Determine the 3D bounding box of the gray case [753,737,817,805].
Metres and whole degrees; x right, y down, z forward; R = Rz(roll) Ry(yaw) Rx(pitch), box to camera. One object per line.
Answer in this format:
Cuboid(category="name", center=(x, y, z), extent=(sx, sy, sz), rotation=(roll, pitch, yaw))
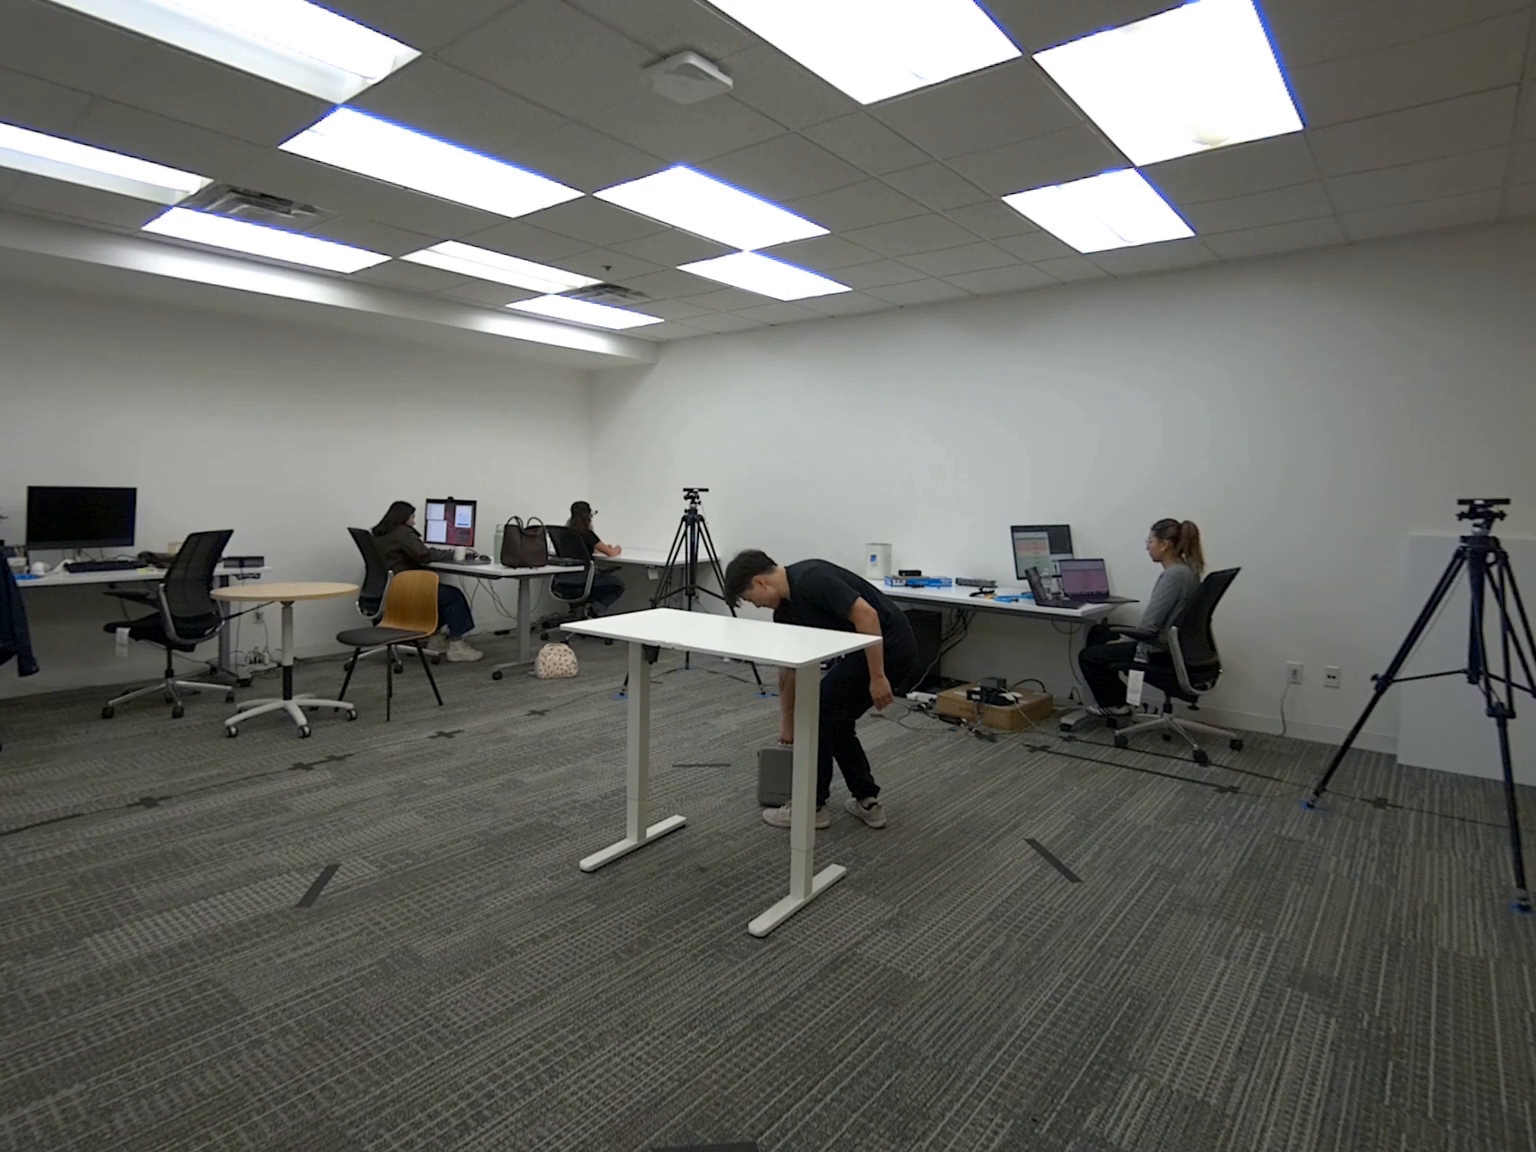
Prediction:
Cuboid(category="gray case", center=(0.077, 0.870, 3.777), extent=(0.260, 0.262, 0.102), rotation=(2, -8, 12))
